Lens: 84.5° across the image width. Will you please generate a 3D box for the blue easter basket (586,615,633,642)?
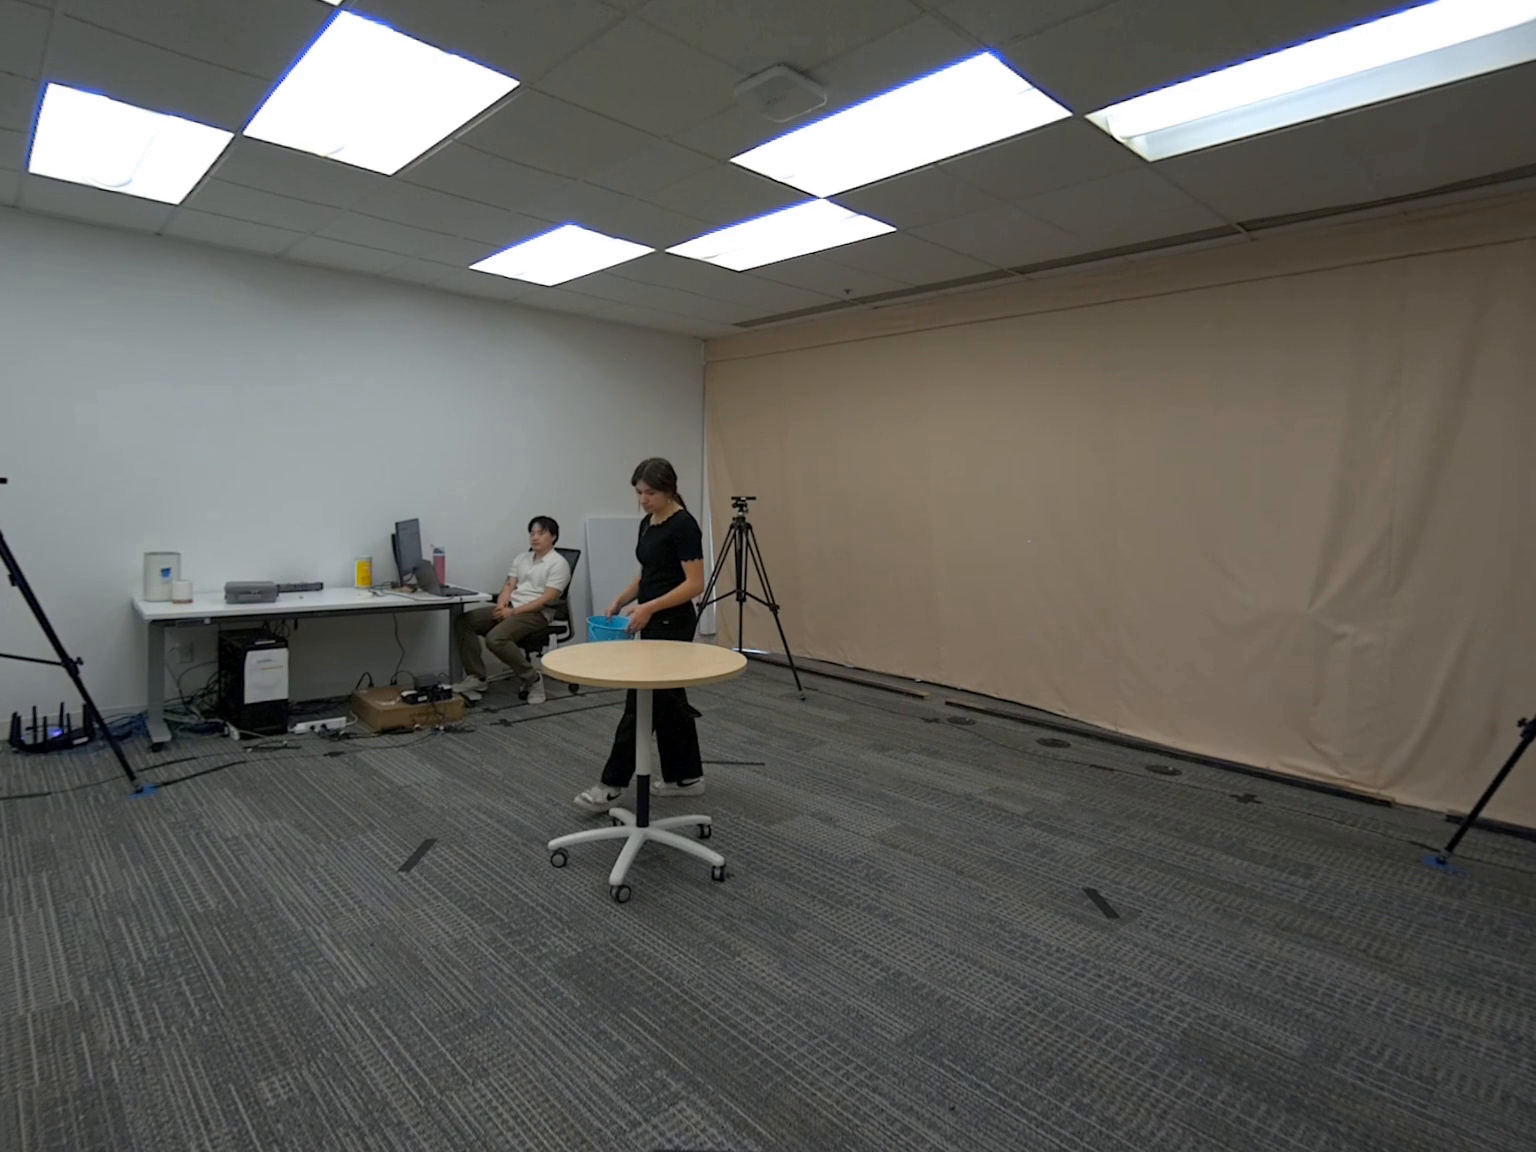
[{"bbox_3d":[-0.711,0.273,3.734,0.243,0.155,0.245,5,7,-2],"label":"blue easter basket"}]
